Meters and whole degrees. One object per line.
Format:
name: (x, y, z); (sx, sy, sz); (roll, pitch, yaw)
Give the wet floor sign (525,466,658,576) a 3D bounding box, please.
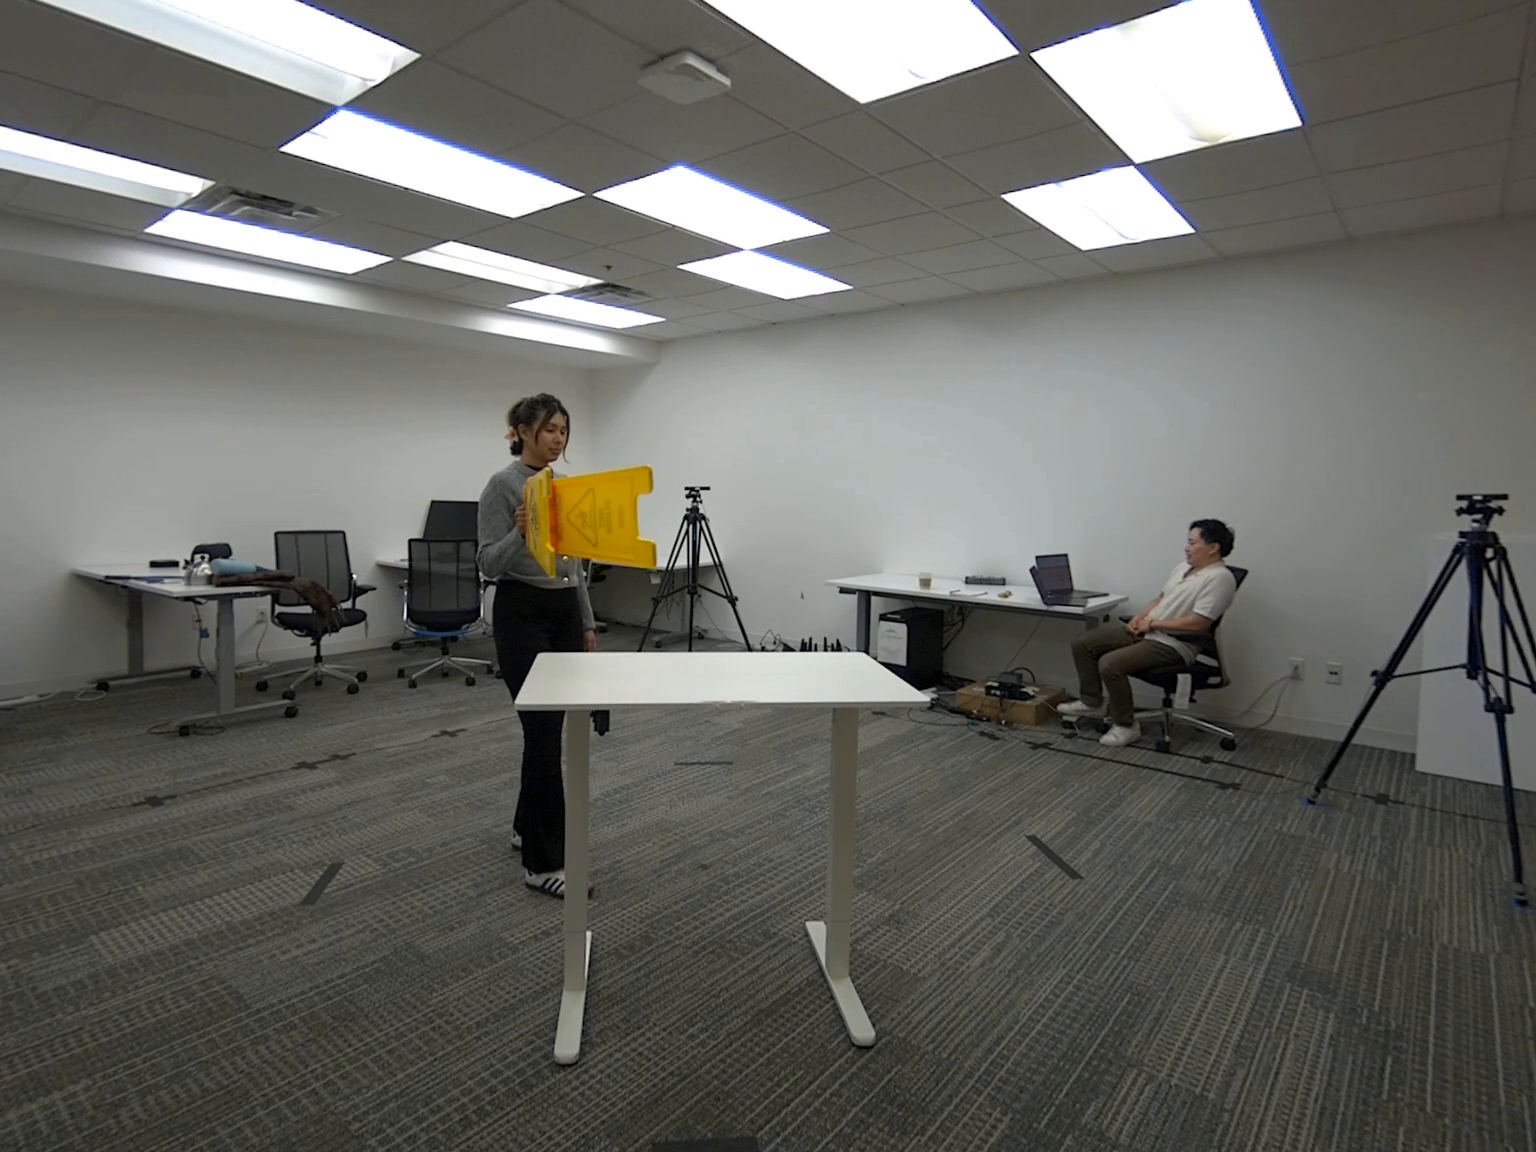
wet floor sign: (-0.609, -0.167, 2.483); (0.282, 0.281, 0.666); (-6, 7, -32)
